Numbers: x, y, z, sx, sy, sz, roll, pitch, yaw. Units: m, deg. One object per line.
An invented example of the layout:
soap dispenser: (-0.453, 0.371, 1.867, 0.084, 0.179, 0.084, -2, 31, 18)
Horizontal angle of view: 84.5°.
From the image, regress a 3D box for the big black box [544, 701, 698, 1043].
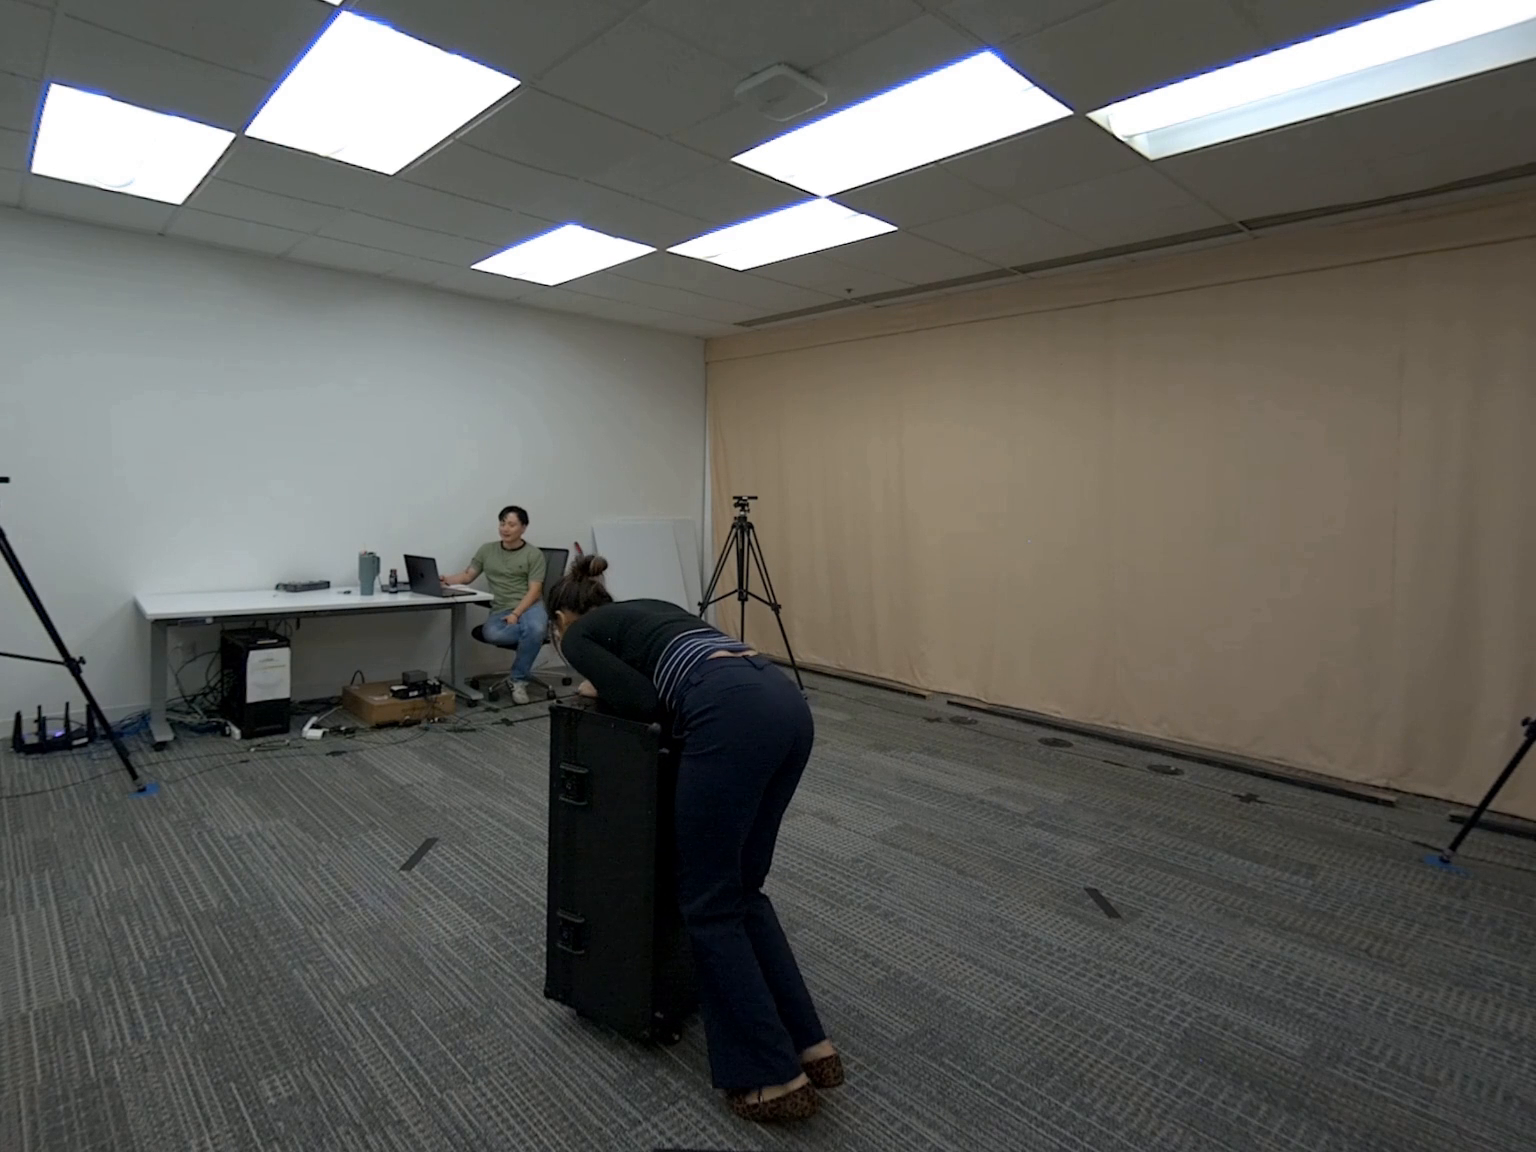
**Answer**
big black box: (-0.298, 0.757, 2.291, 0.405, 0.859, 0.511, 6, 5, 31)
